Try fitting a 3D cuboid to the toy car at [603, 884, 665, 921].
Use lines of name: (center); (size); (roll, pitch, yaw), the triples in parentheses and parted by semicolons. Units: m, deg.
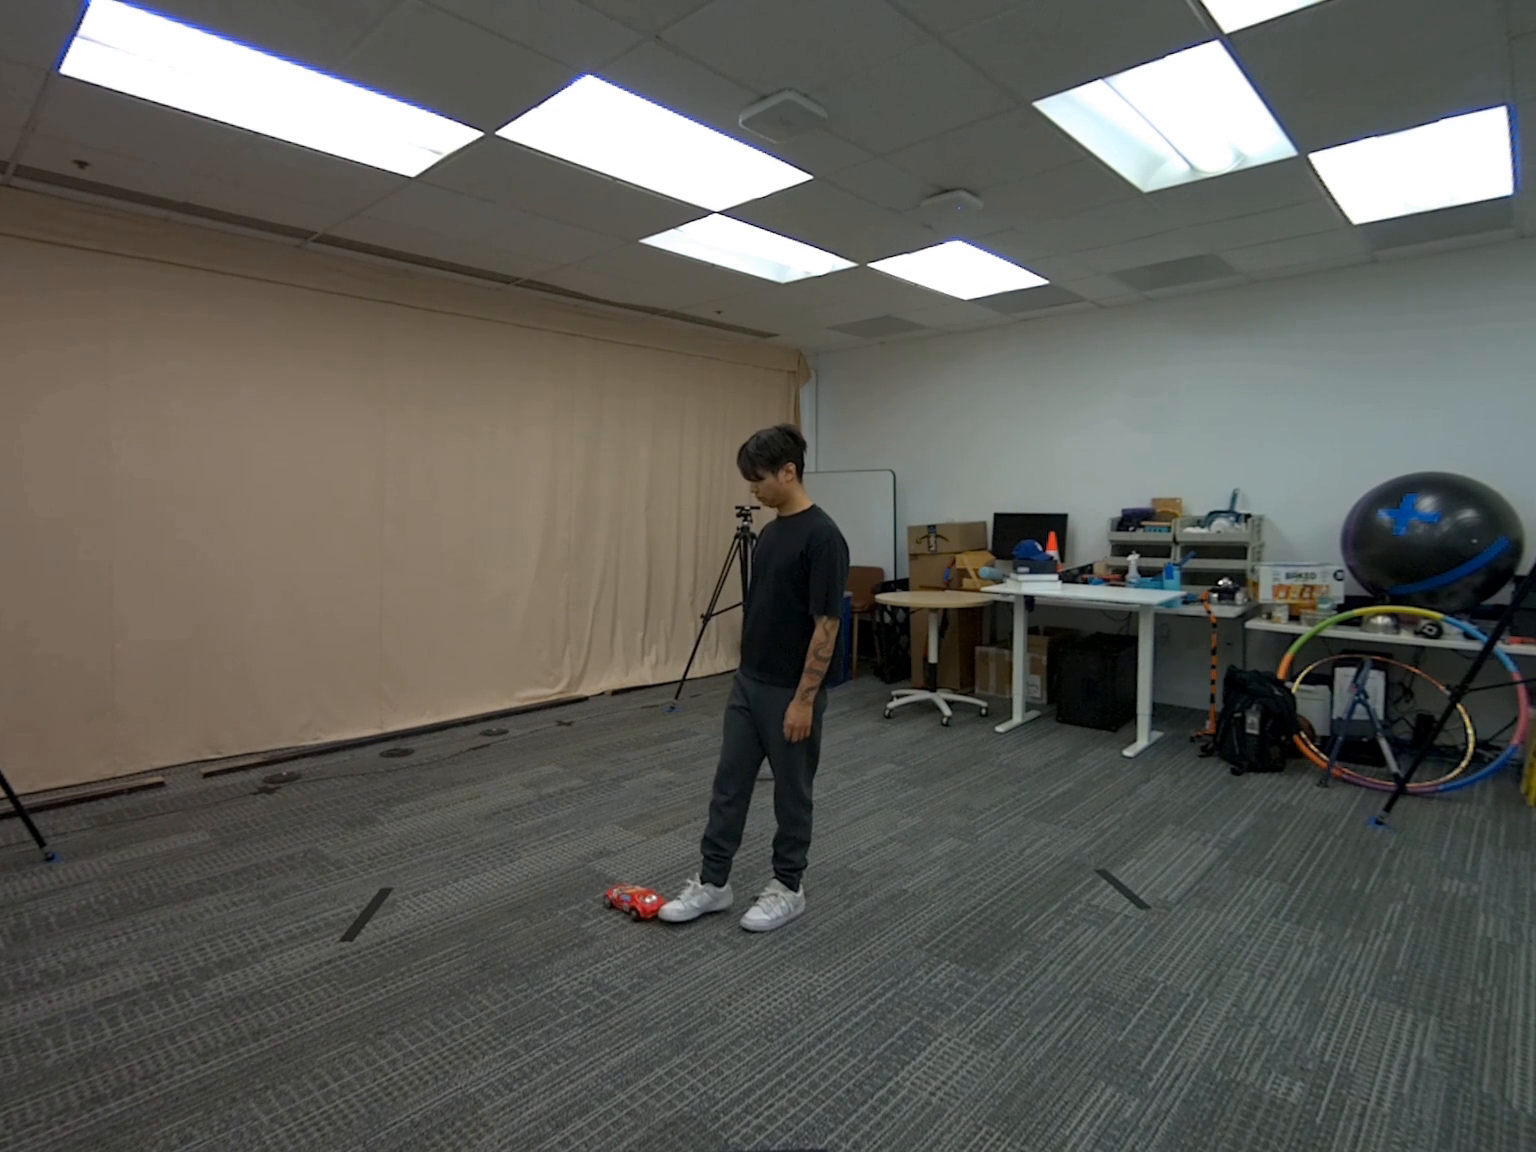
toy car: (-0.455, 1.123, 2.892); (0.261, 0.083, 0.126); (-12, -4, 42)
